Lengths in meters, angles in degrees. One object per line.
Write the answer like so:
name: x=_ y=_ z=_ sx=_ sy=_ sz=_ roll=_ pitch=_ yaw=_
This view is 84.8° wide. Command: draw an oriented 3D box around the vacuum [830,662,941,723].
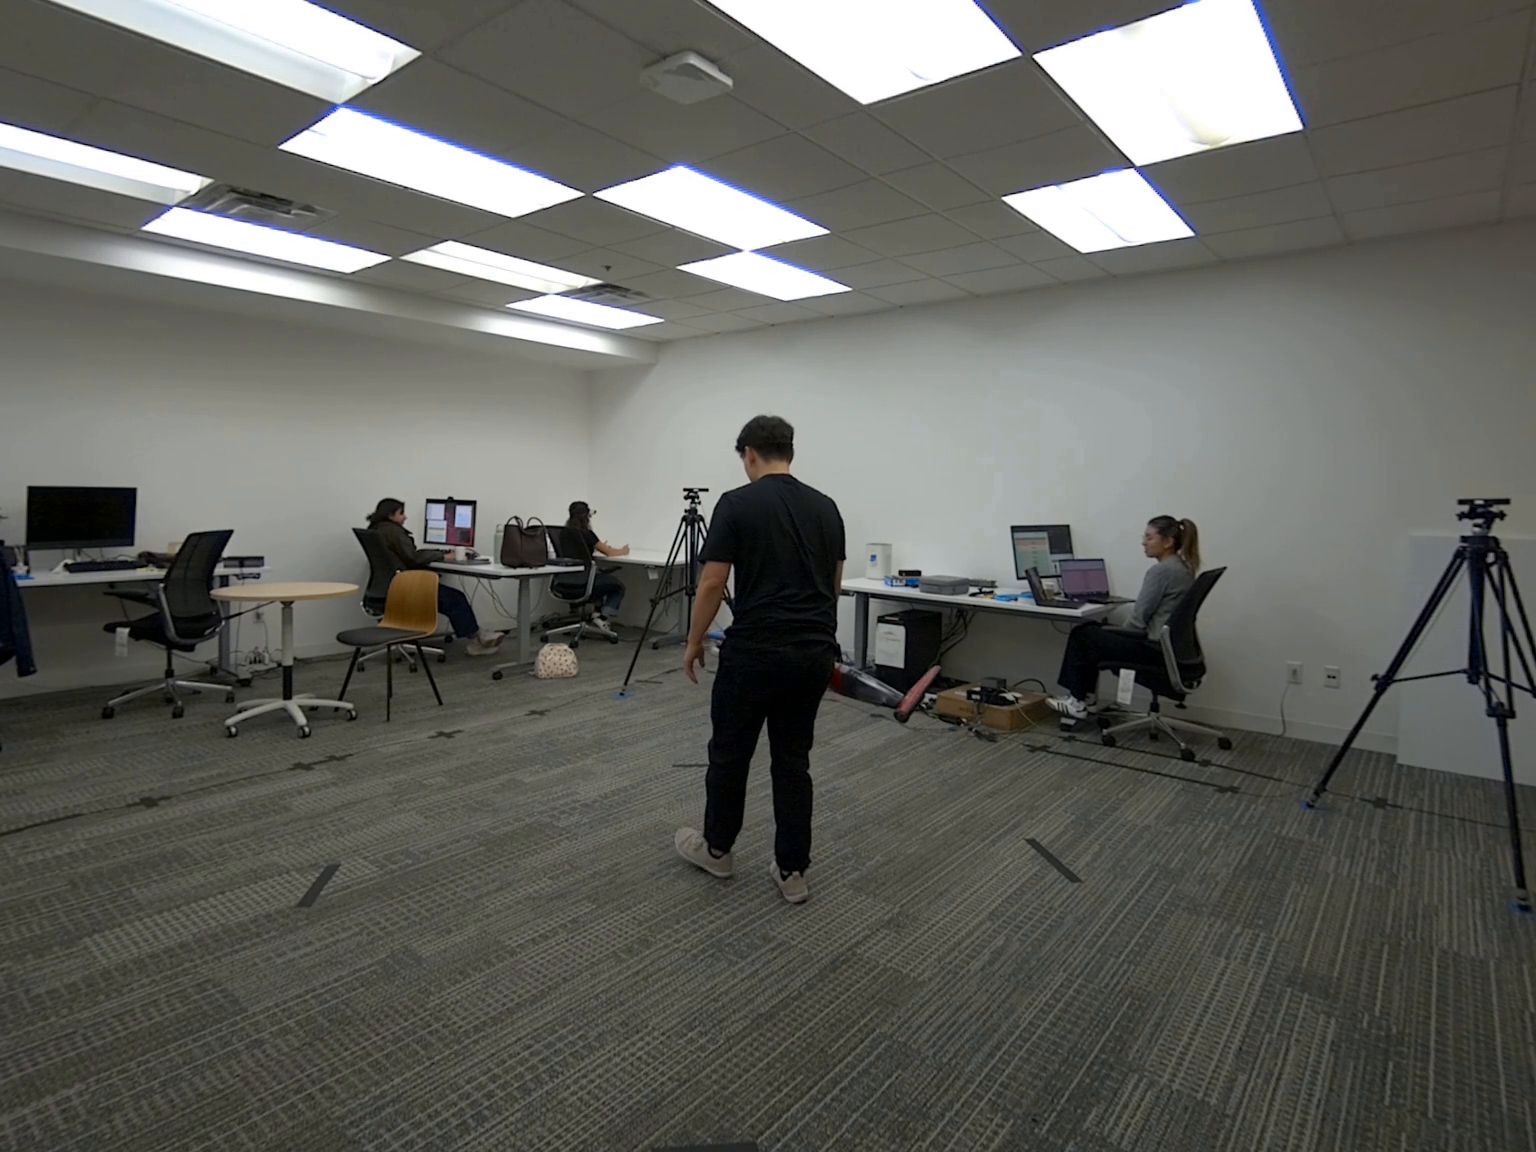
vacuum: x=0.098 y=0.343 z=3.235 sx=1.087 sy=0.139 sz=0.252 roll=11 pitch=44 yaw=41
